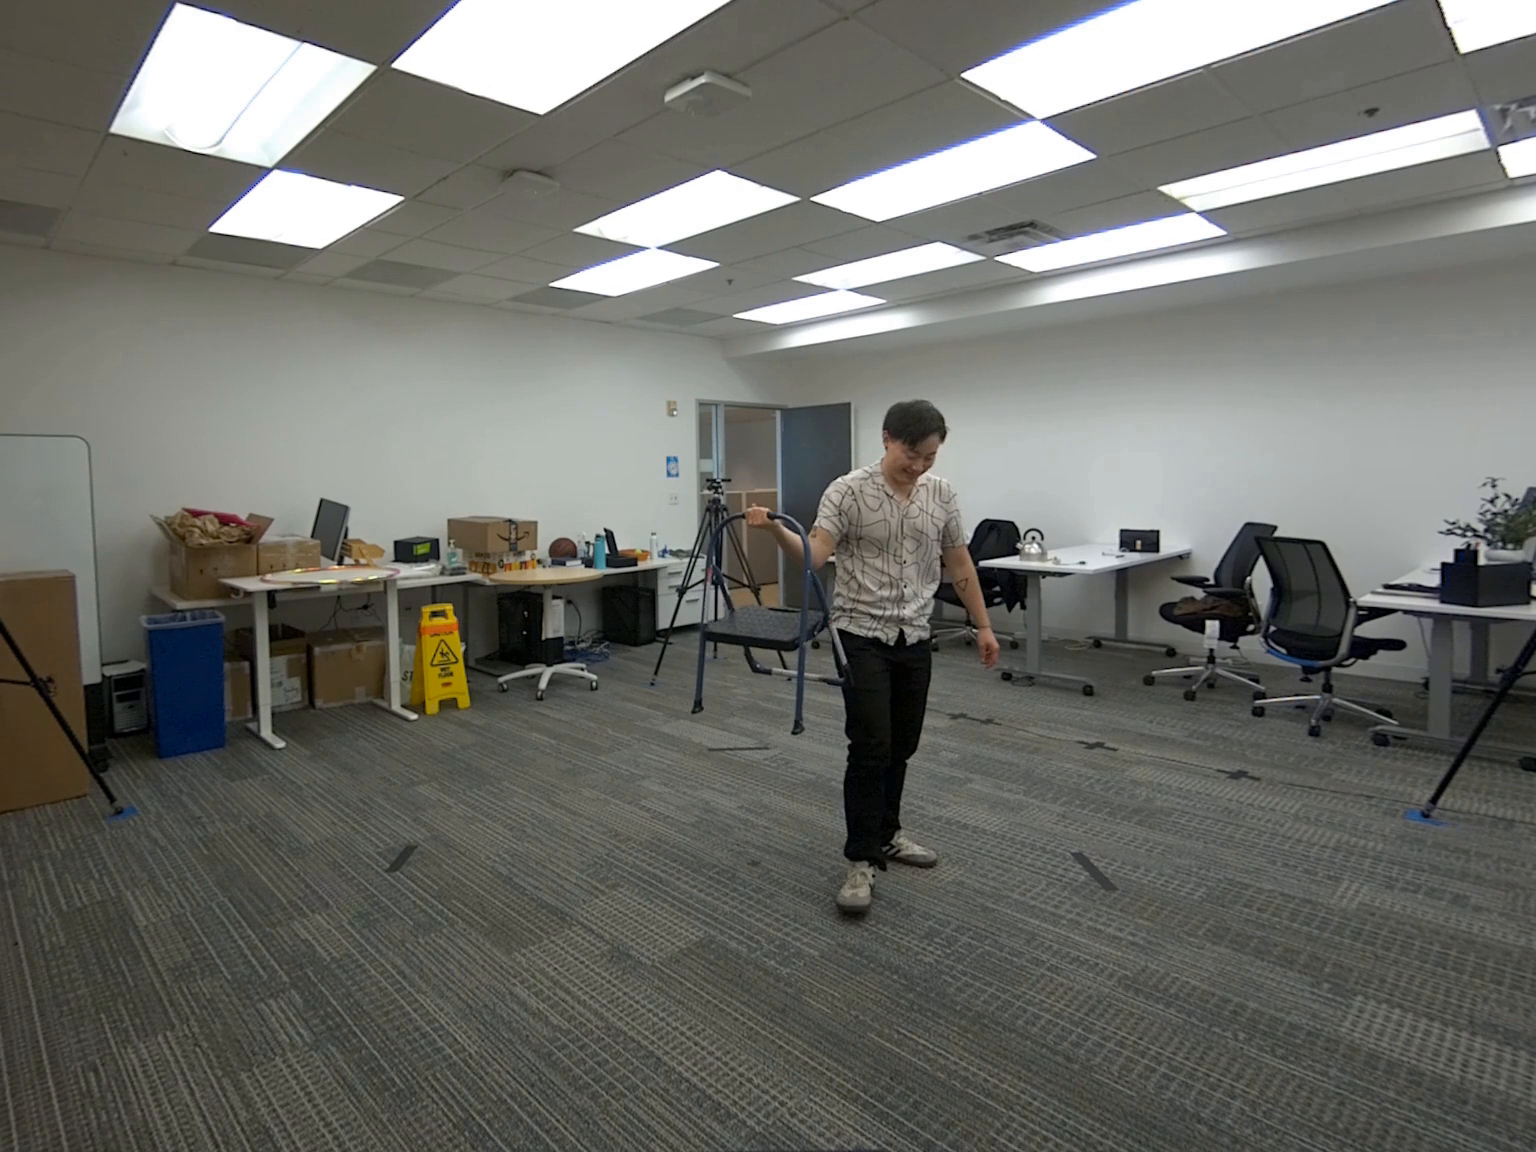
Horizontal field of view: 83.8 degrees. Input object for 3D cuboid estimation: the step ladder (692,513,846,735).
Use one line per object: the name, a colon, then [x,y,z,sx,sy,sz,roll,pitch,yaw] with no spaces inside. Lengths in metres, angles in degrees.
step ladder: [-0.028,0.116,2.695,0.443,0.597,0.344,3,19,37]
